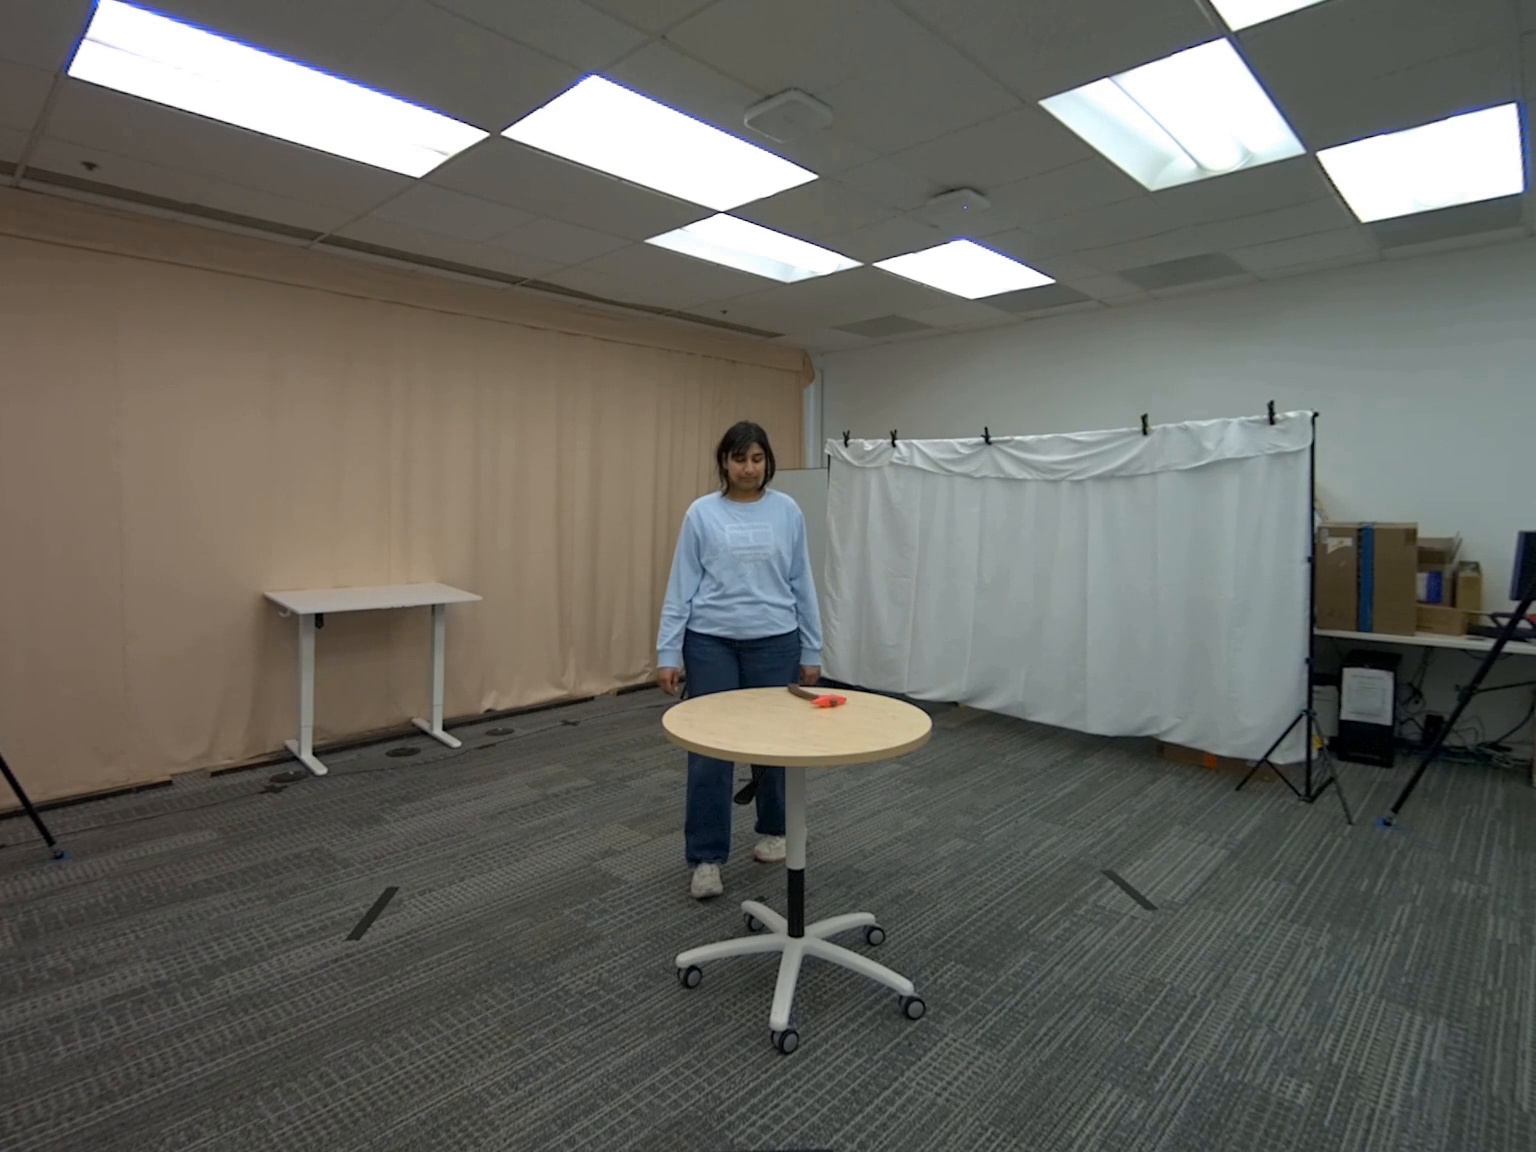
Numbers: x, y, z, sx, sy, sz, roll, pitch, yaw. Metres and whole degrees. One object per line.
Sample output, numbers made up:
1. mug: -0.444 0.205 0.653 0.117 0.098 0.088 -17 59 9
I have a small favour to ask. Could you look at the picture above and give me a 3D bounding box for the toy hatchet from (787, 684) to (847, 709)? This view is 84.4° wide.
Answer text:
1. toy hatchet: 0.172 0.373 2.655 0.129 0.029 0.274 -1 4 -13
